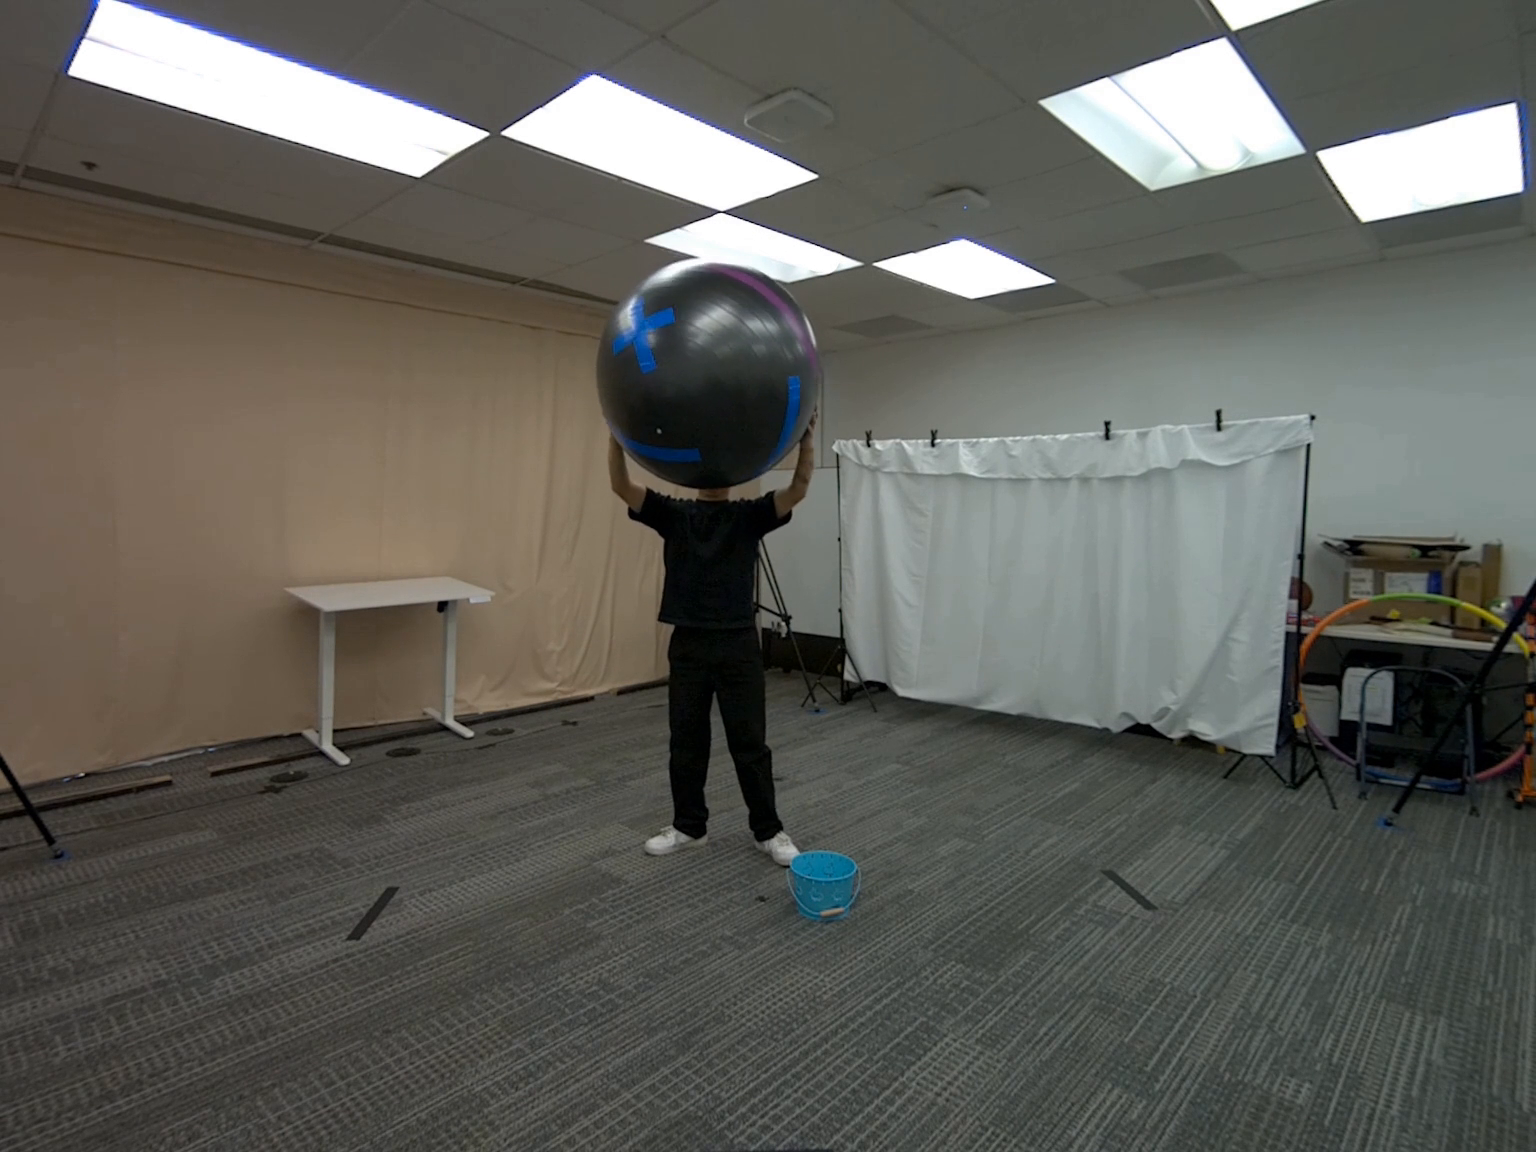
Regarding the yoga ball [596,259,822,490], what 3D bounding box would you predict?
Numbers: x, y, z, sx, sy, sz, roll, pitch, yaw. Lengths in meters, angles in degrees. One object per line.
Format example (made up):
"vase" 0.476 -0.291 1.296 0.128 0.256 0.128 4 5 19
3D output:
"yoga ball" -0.192 -0.672 2.855 0.757 0.756 0.760 0 4 -2
